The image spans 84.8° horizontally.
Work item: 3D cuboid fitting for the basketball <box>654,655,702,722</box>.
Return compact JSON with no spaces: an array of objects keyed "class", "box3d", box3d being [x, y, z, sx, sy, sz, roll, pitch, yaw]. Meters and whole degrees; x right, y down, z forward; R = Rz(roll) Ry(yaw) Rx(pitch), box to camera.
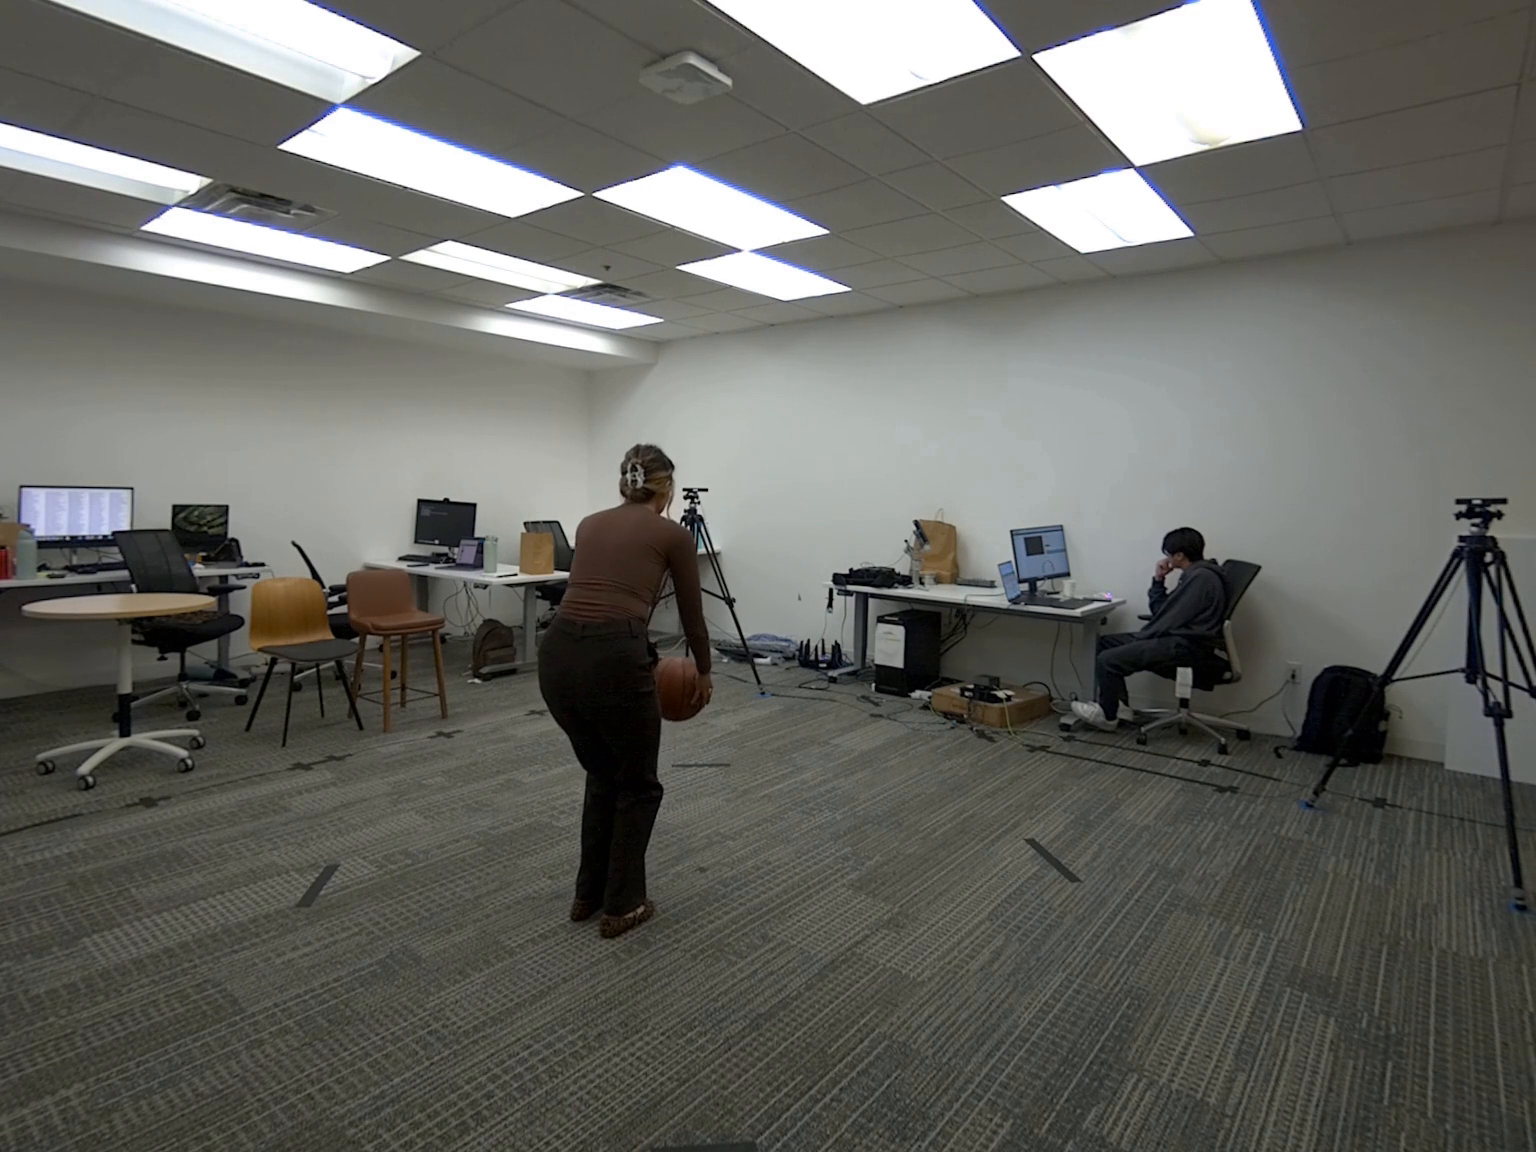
[{"class":"basketball","box3d":[-0.343,0.406,3.123,0.235,0.235,0.237,1,4,-2]}]
